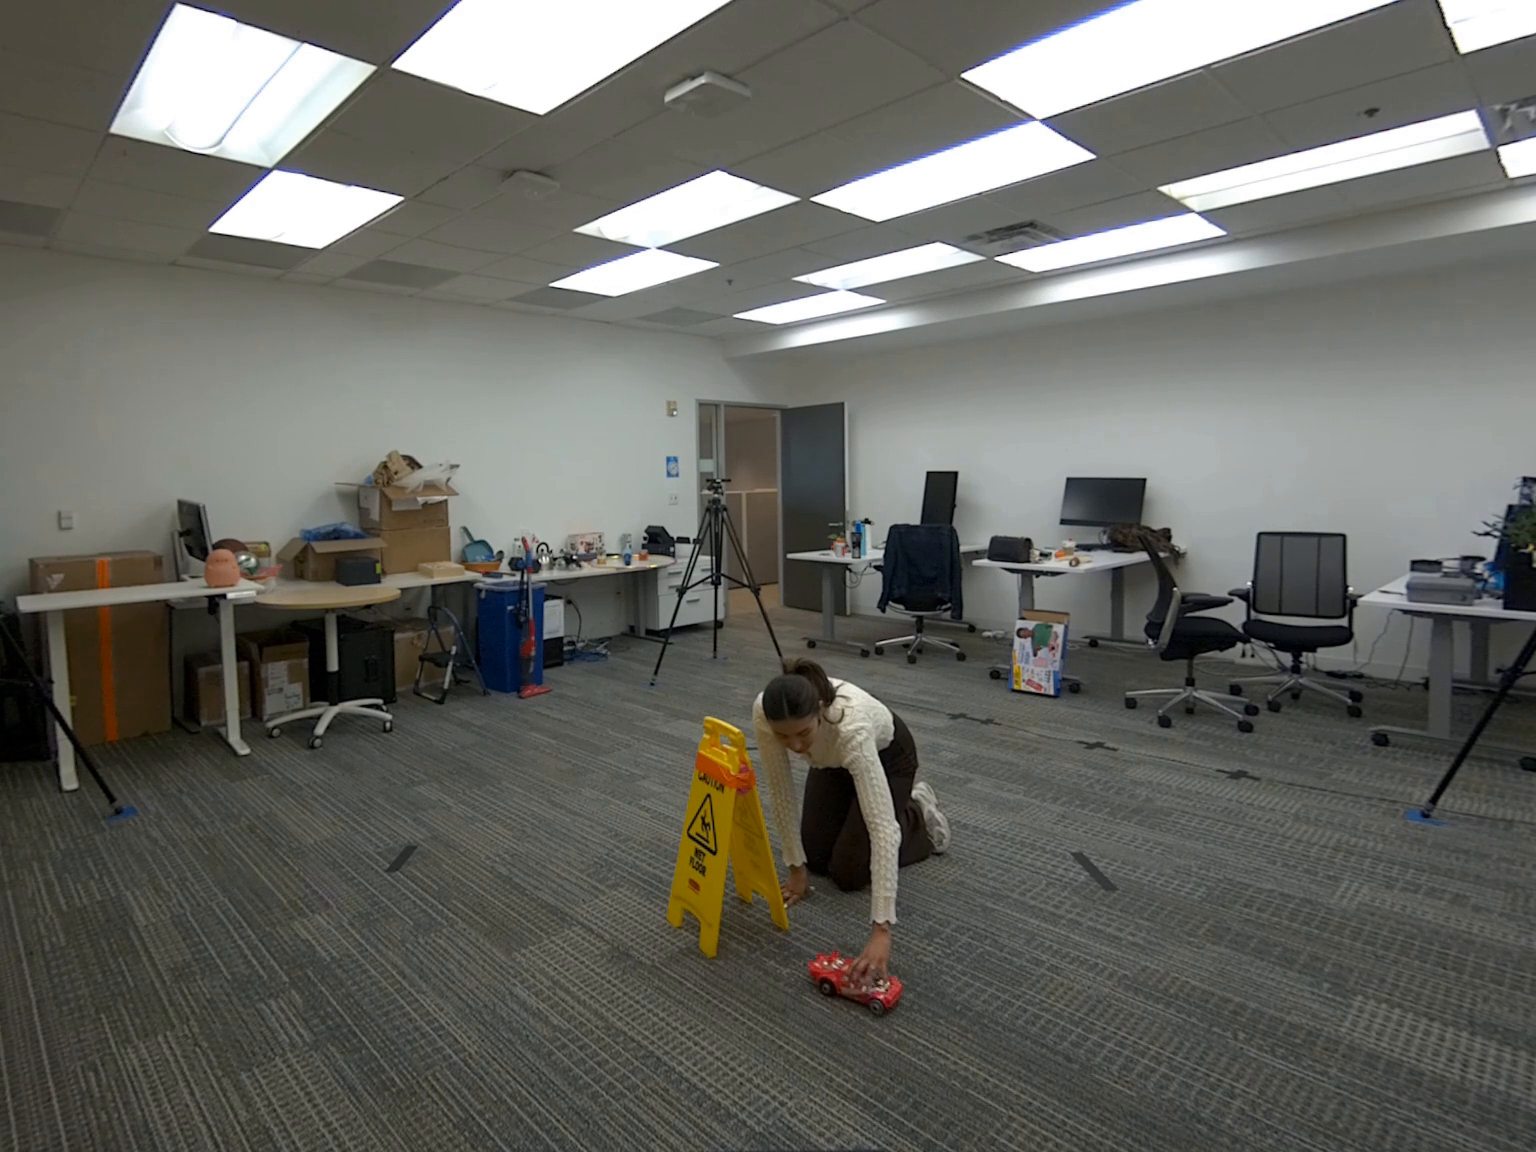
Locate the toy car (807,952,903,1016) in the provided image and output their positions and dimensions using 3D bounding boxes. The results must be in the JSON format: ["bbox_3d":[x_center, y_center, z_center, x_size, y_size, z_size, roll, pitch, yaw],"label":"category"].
[{"bbox_3d":[0.225,1.097,2.331,0.263,0.082,0.127,15,15,34],"label":"toy car"}]
